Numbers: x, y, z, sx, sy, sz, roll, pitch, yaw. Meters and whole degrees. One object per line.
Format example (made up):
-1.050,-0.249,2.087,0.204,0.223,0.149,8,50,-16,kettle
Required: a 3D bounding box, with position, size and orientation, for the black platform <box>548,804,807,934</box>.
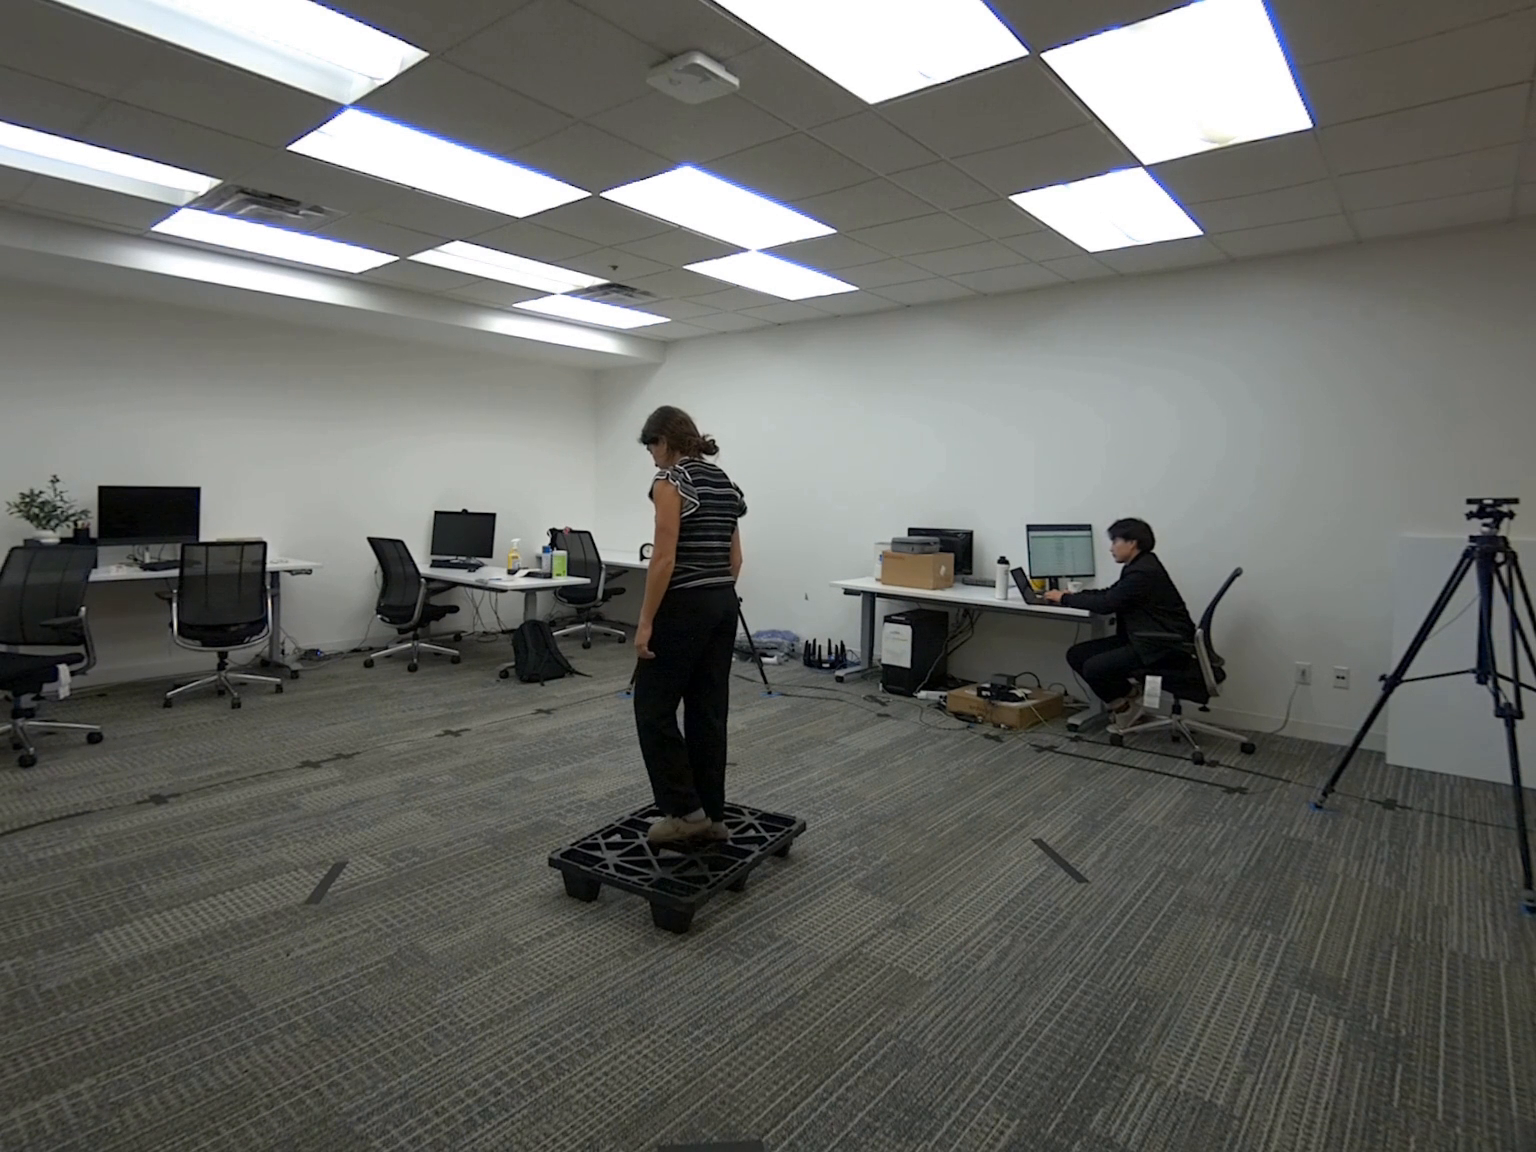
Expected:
-0.315,1.000,3.065,0.623,0.143,0.785,3,6,30,black platform
